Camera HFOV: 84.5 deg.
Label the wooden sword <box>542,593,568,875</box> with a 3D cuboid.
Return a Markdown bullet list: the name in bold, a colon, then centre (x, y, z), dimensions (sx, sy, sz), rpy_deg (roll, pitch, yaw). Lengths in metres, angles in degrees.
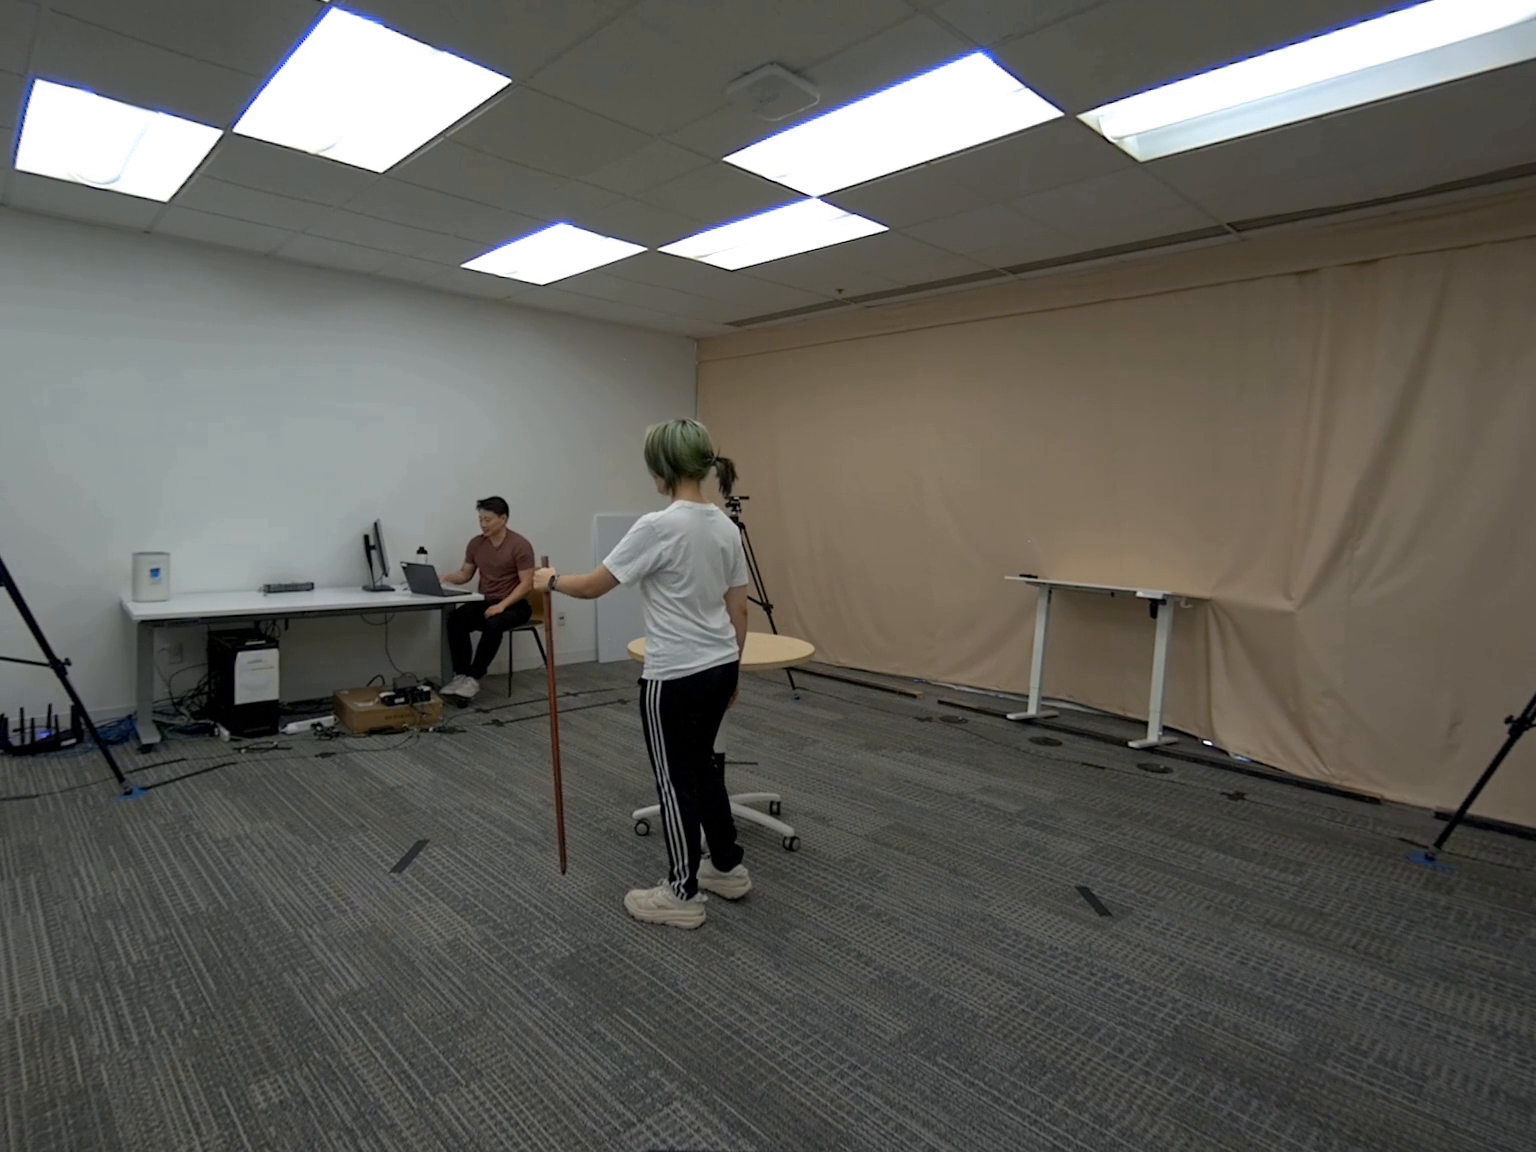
- **wooden sword**: centre (-0.693, 0.442, 2.713), dimensions (0.051, 1.039, 0.024), rpy_deg (-3, -18, -16)
